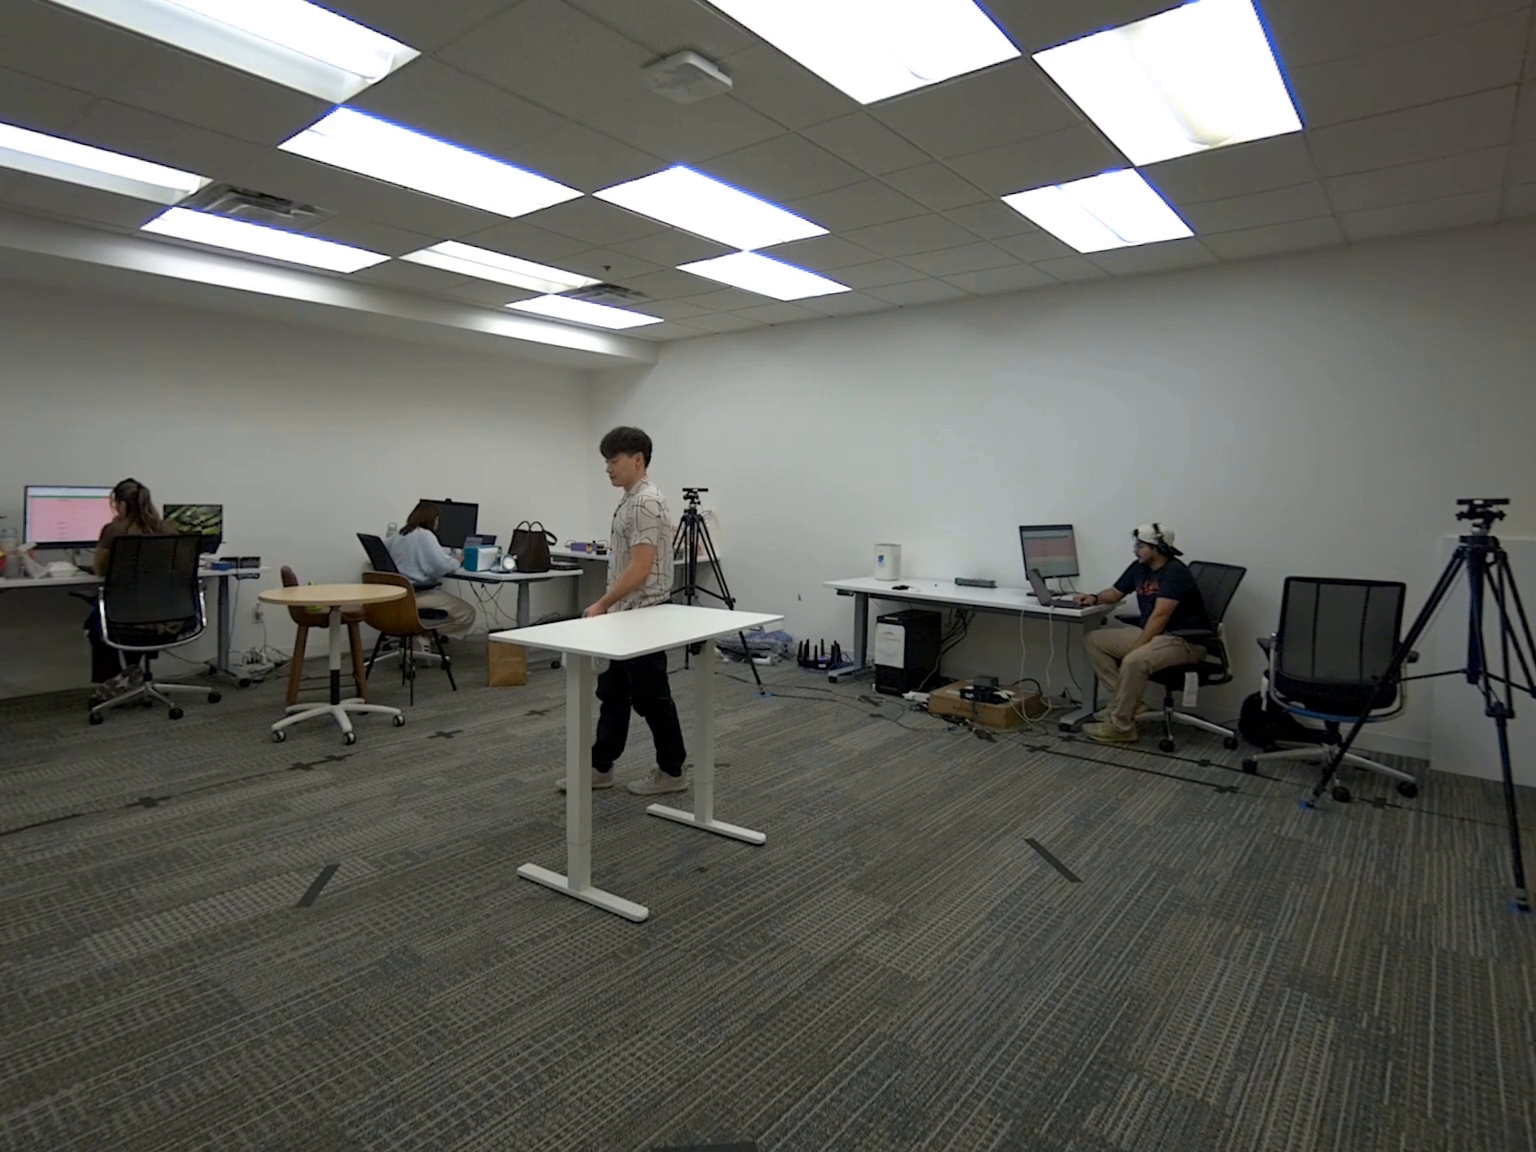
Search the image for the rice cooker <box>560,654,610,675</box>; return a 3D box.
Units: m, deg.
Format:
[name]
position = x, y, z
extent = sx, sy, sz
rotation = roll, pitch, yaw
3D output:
[rice cooker]
position = -0.783, 0.281, 3.648
extent = 0.213, 0.232, 0.225
rotation = 3, 6, -45
